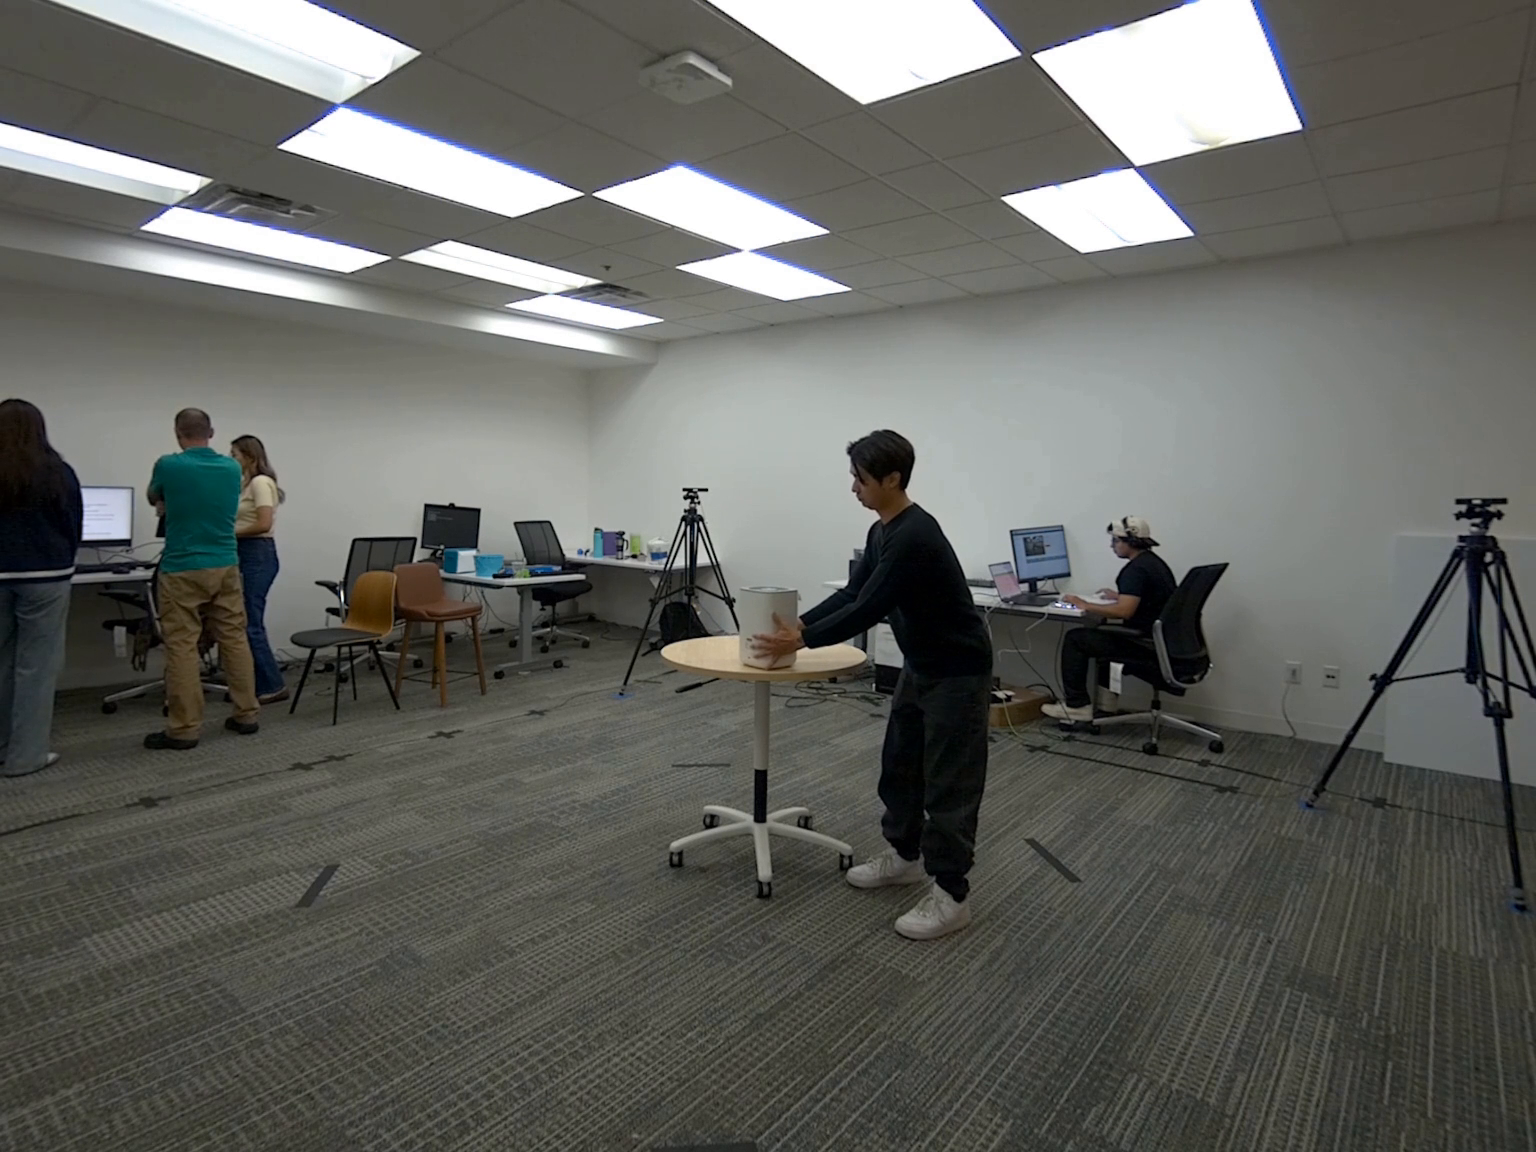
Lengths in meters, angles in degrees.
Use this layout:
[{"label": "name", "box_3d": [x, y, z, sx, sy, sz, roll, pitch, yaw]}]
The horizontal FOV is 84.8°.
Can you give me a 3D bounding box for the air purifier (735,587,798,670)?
[{"label": "air purifier", "box_3d": [-0.006, 0.172, 2.946, 0.166, 0.264, 0.177, -2, 5, -41]}]
